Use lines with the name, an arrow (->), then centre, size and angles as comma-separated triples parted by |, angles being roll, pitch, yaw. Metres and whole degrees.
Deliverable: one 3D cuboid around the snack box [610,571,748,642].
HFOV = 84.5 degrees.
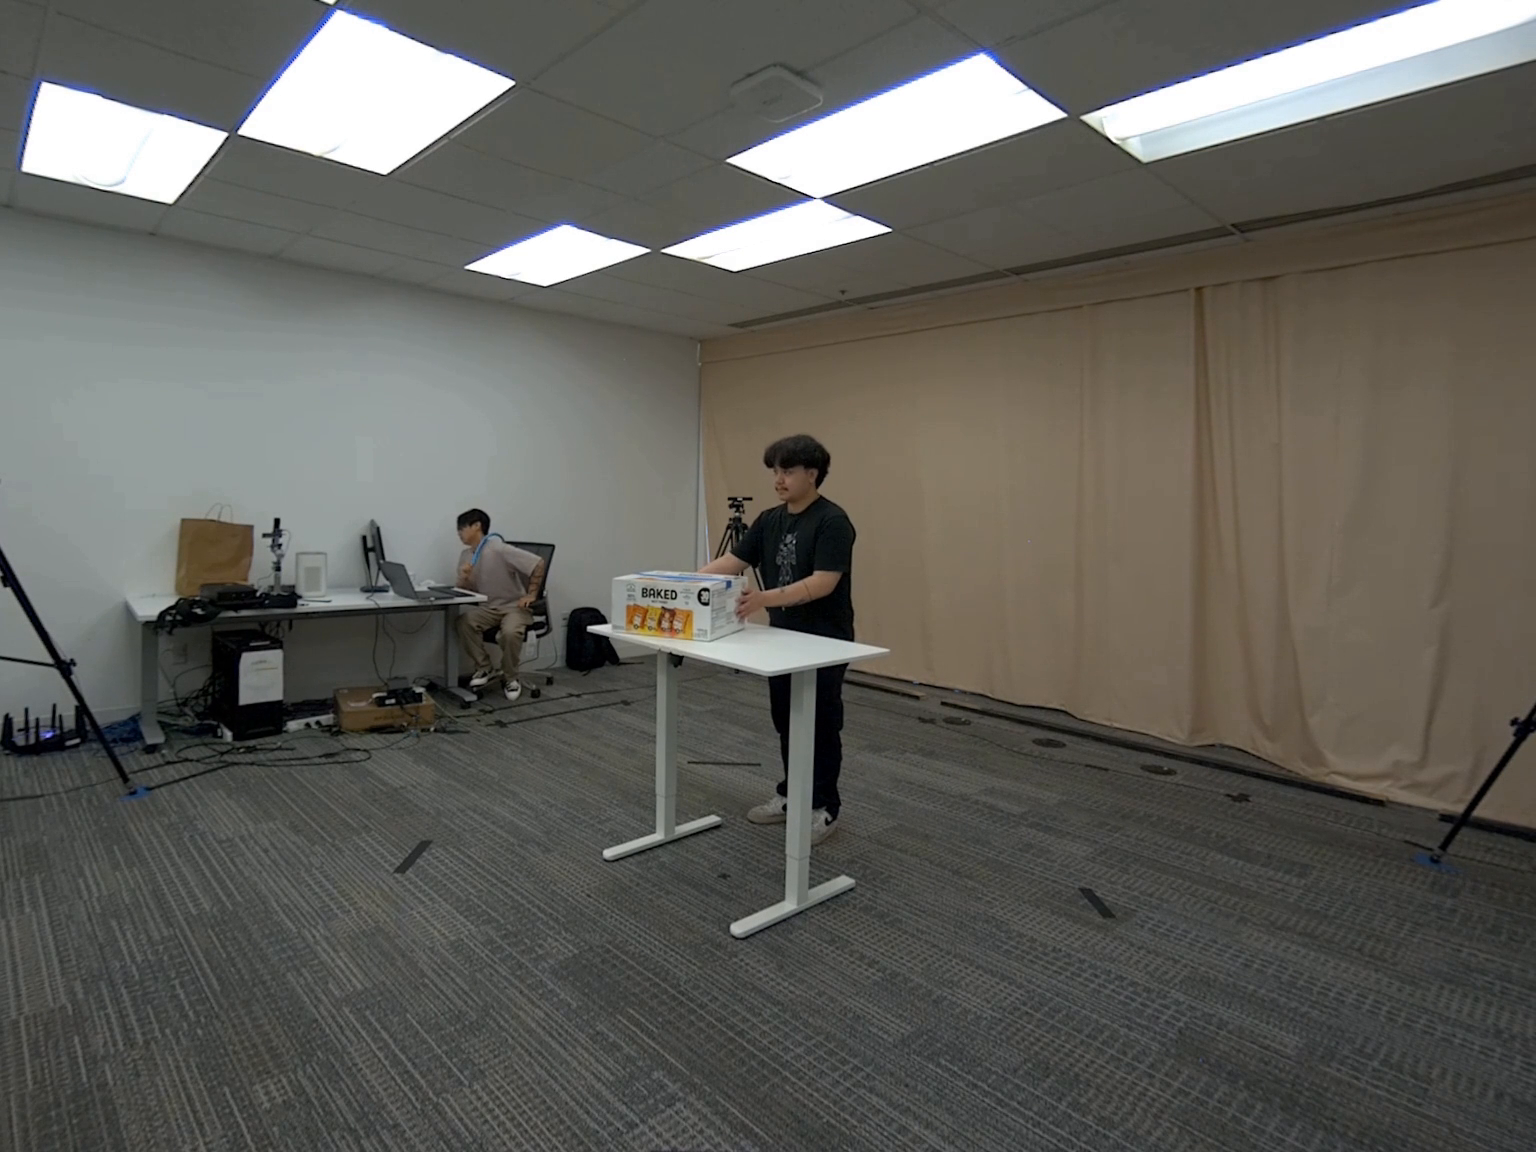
snack box -> -0.335, 0.106, 3.202 | 0.412, 0.205, 0.335 | 4, 6, 23
